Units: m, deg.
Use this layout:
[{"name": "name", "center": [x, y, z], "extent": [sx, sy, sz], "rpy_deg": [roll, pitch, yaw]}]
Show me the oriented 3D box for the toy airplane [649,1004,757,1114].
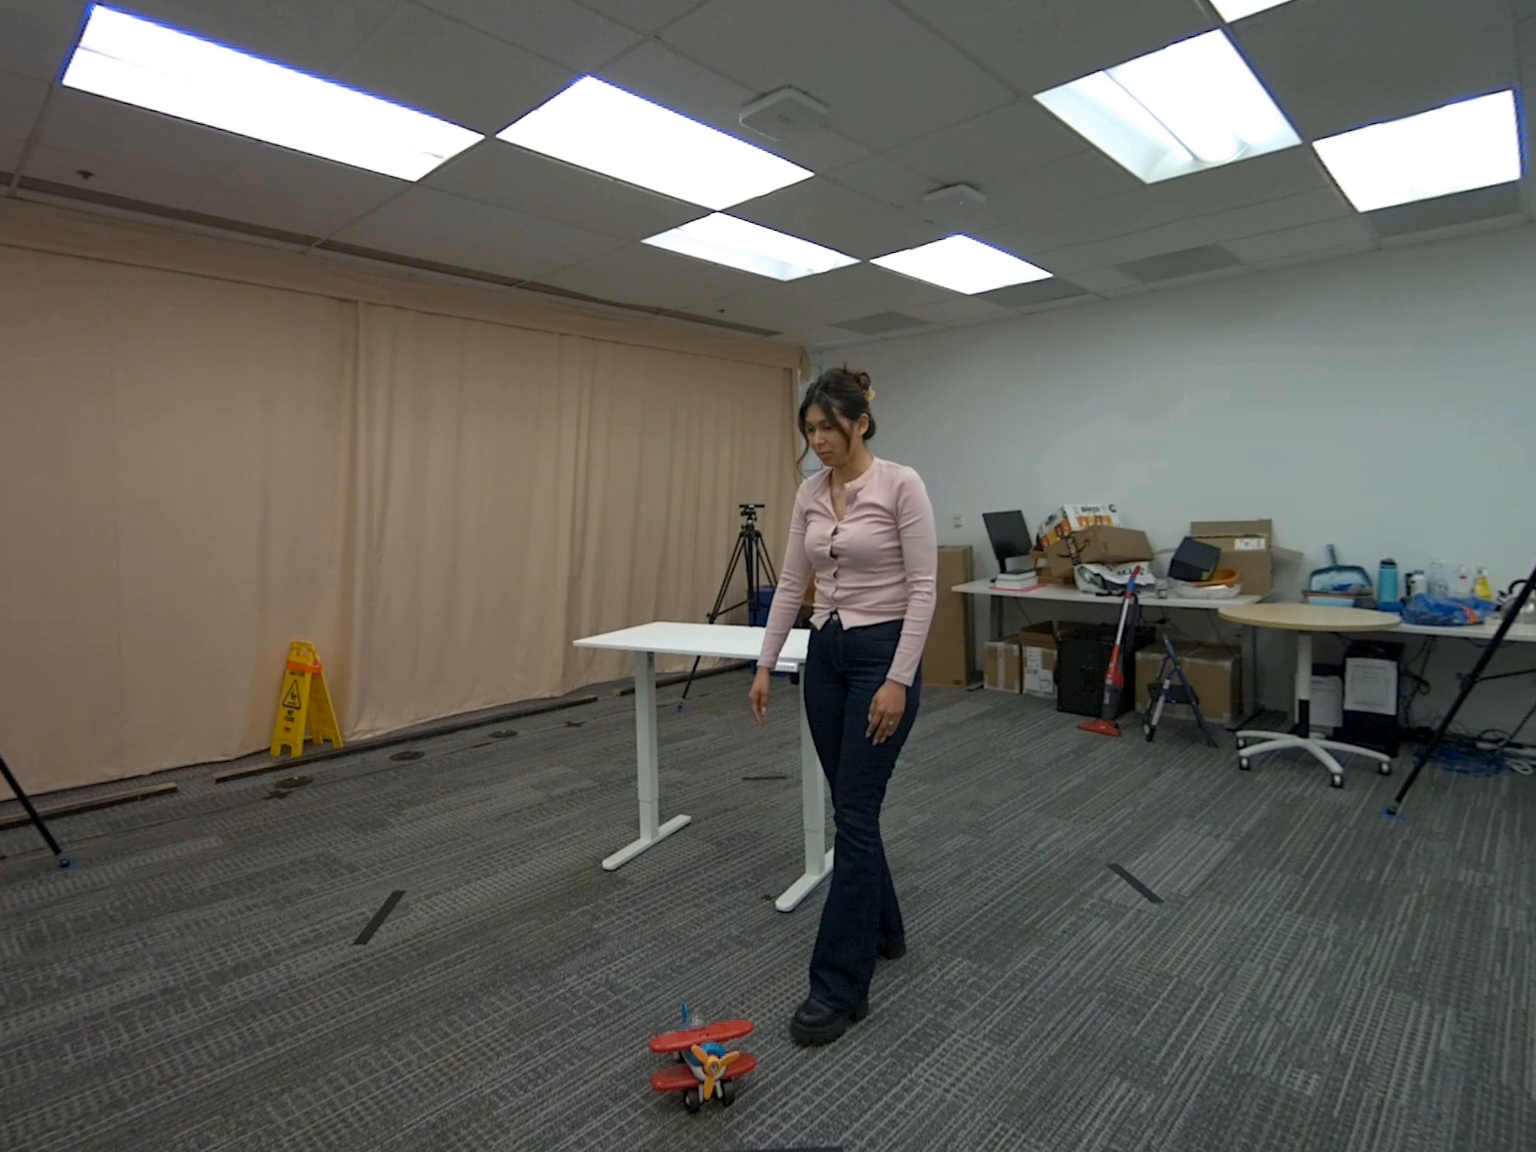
[{"name": "toy airplane", "center": [-0.180, 1.155, 2.019], "extent": [0.268, 0.156, 0.243], "rpy_deg": [5, 7, 41]}]
